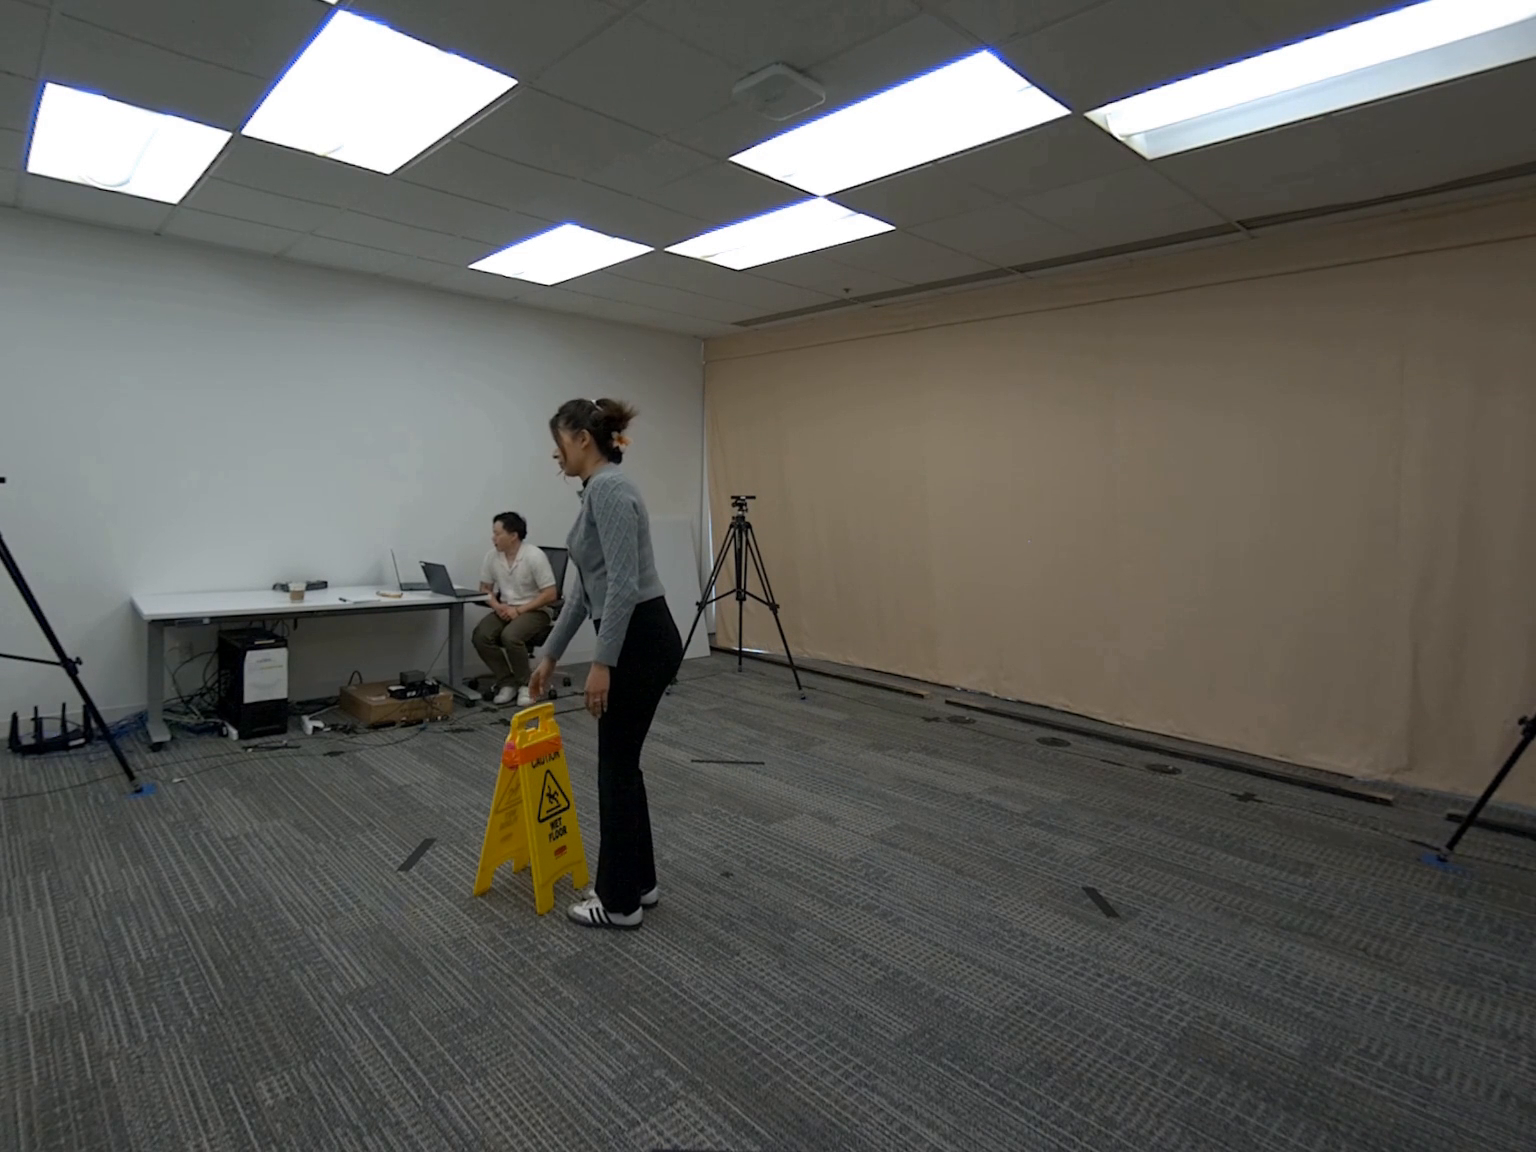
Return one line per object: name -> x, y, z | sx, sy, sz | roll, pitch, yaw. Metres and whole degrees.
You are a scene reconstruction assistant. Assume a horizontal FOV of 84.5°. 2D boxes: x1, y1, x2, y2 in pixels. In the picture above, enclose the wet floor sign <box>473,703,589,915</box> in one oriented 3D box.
wet floor sign -> -0.834, 0.783, 2.938 | 0.295, 0.645, 0.277 | 2, 3, 26
